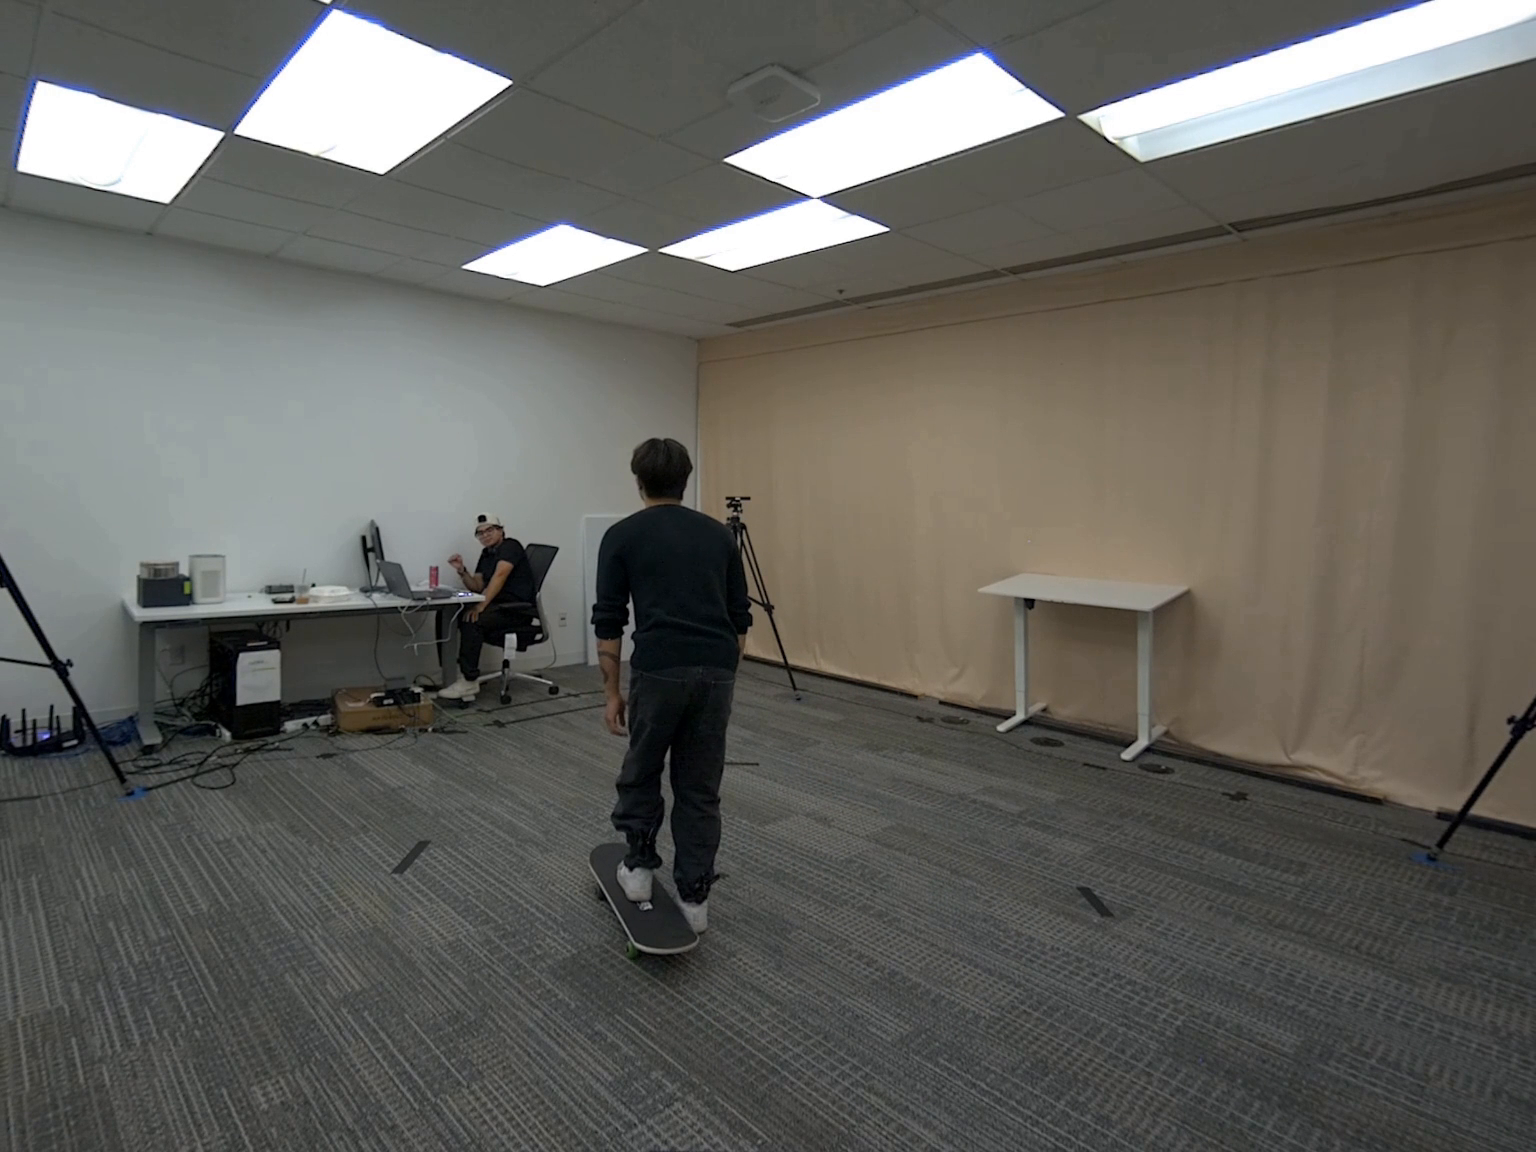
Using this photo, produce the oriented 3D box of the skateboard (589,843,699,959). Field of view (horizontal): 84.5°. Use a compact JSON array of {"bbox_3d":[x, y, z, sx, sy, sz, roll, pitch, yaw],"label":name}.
[{"bbox_3d":[-0.441,1.080,2.756,0.190,0.110,0.801,0,6,-23],"label":"skateboard"}]
